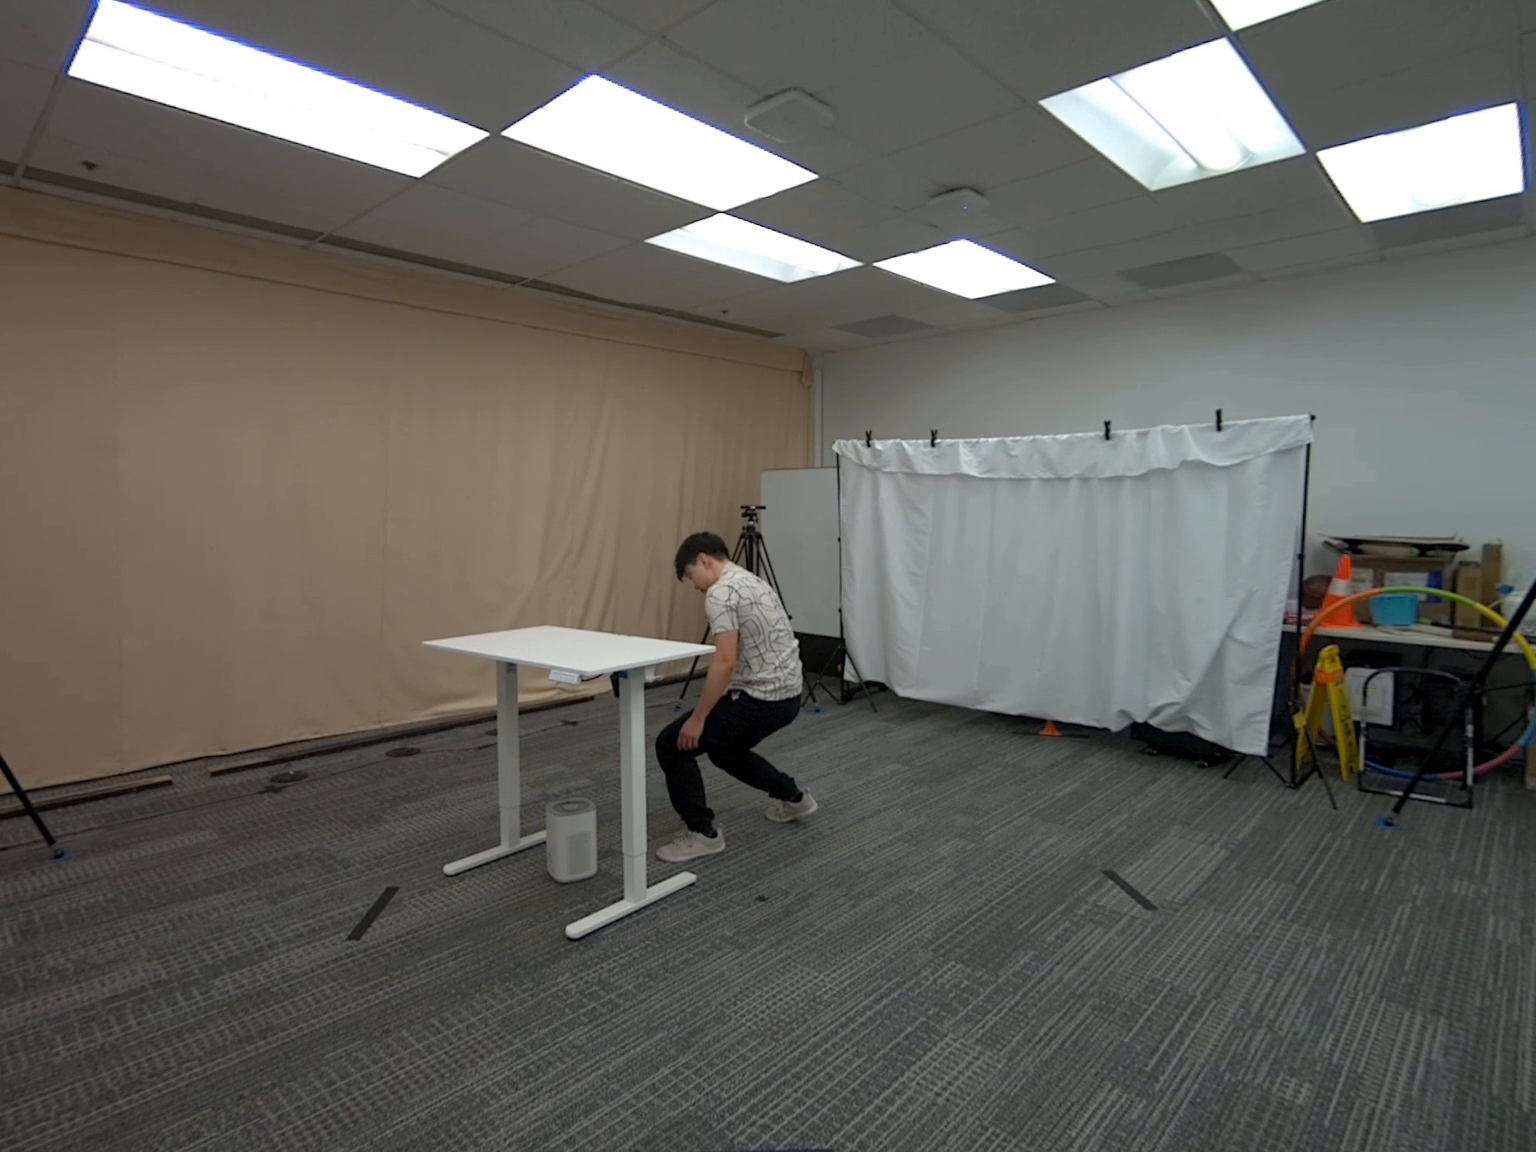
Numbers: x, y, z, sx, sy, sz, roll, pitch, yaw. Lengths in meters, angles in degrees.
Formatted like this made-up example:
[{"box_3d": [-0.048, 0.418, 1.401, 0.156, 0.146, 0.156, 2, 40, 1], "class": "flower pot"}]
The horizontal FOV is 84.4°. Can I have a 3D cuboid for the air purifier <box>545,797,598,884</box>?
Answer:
[{"box_3d": [-0.745, 1.004, 3.191, 0.167, 0.265, 0.176, -2, 3, -34], "class": "air purifier"}]
